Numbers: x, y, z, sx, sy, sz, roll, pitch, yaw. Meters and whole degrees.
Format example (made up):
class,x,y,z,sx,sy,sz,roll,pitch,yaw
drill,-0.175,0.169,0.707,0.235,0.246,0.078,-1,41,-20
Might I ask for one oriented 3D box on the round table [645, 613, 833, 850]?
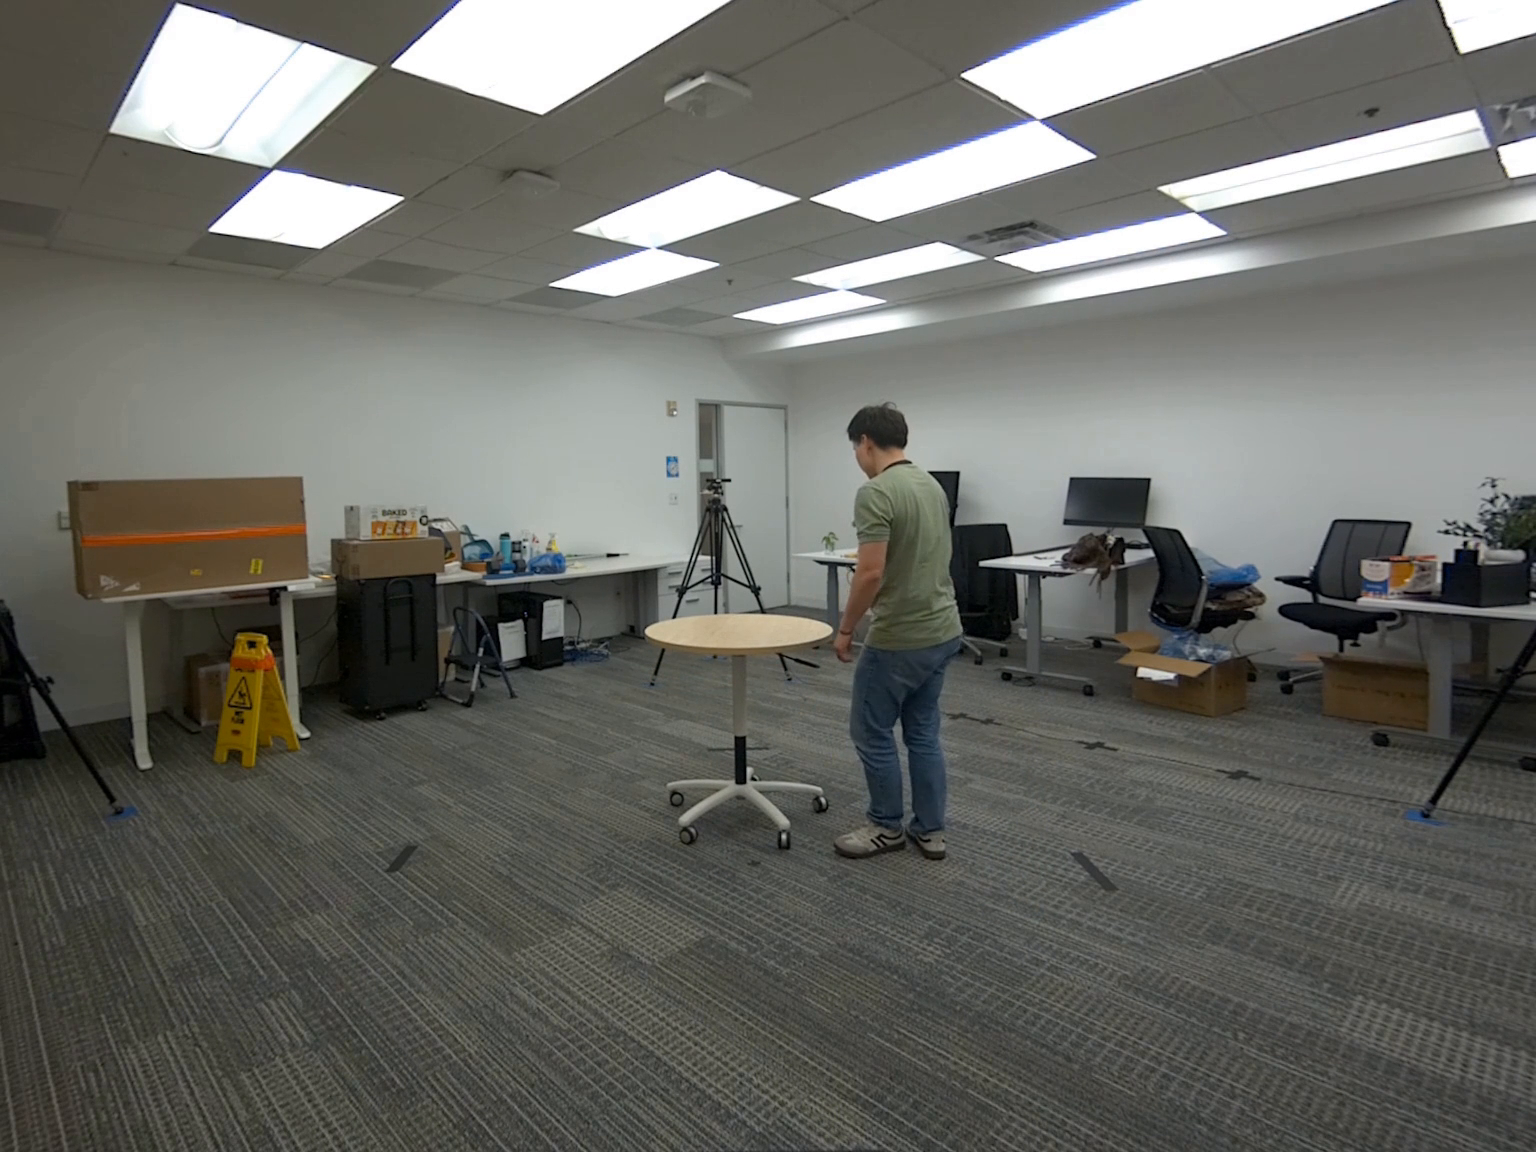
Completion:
class,x,y,z,sx,sy,sz,roll,pitch,yaw
round table,-0.117,0.608,3.522,0.763,0.791,0.767,-1,4,-2
